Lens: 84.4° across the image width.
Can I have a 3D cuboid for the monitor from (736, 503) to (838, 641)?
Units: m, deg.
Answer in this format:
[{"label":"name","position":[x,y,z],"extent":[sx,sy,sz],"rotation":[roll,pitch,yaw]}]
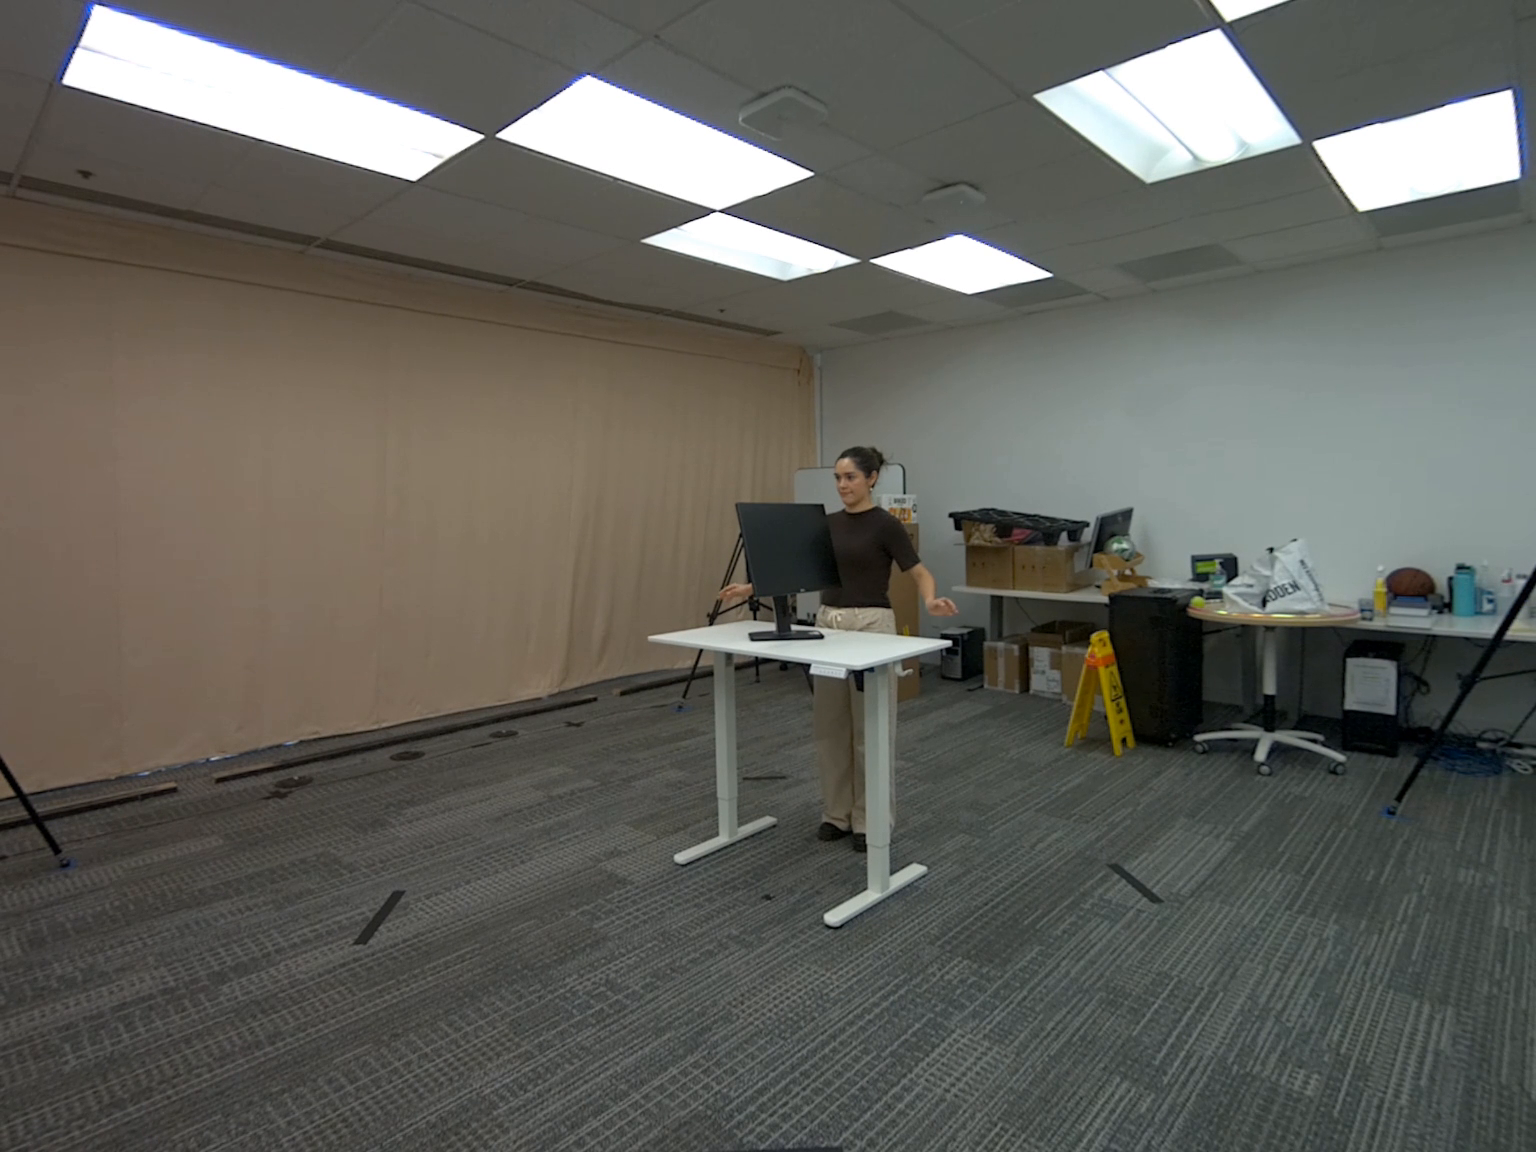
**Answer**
[{"label":"monitor","position":[0.079,-0.020,3.234],"extent":[0.193,0.522,0.523],"rotation":[3,3,37]}]
